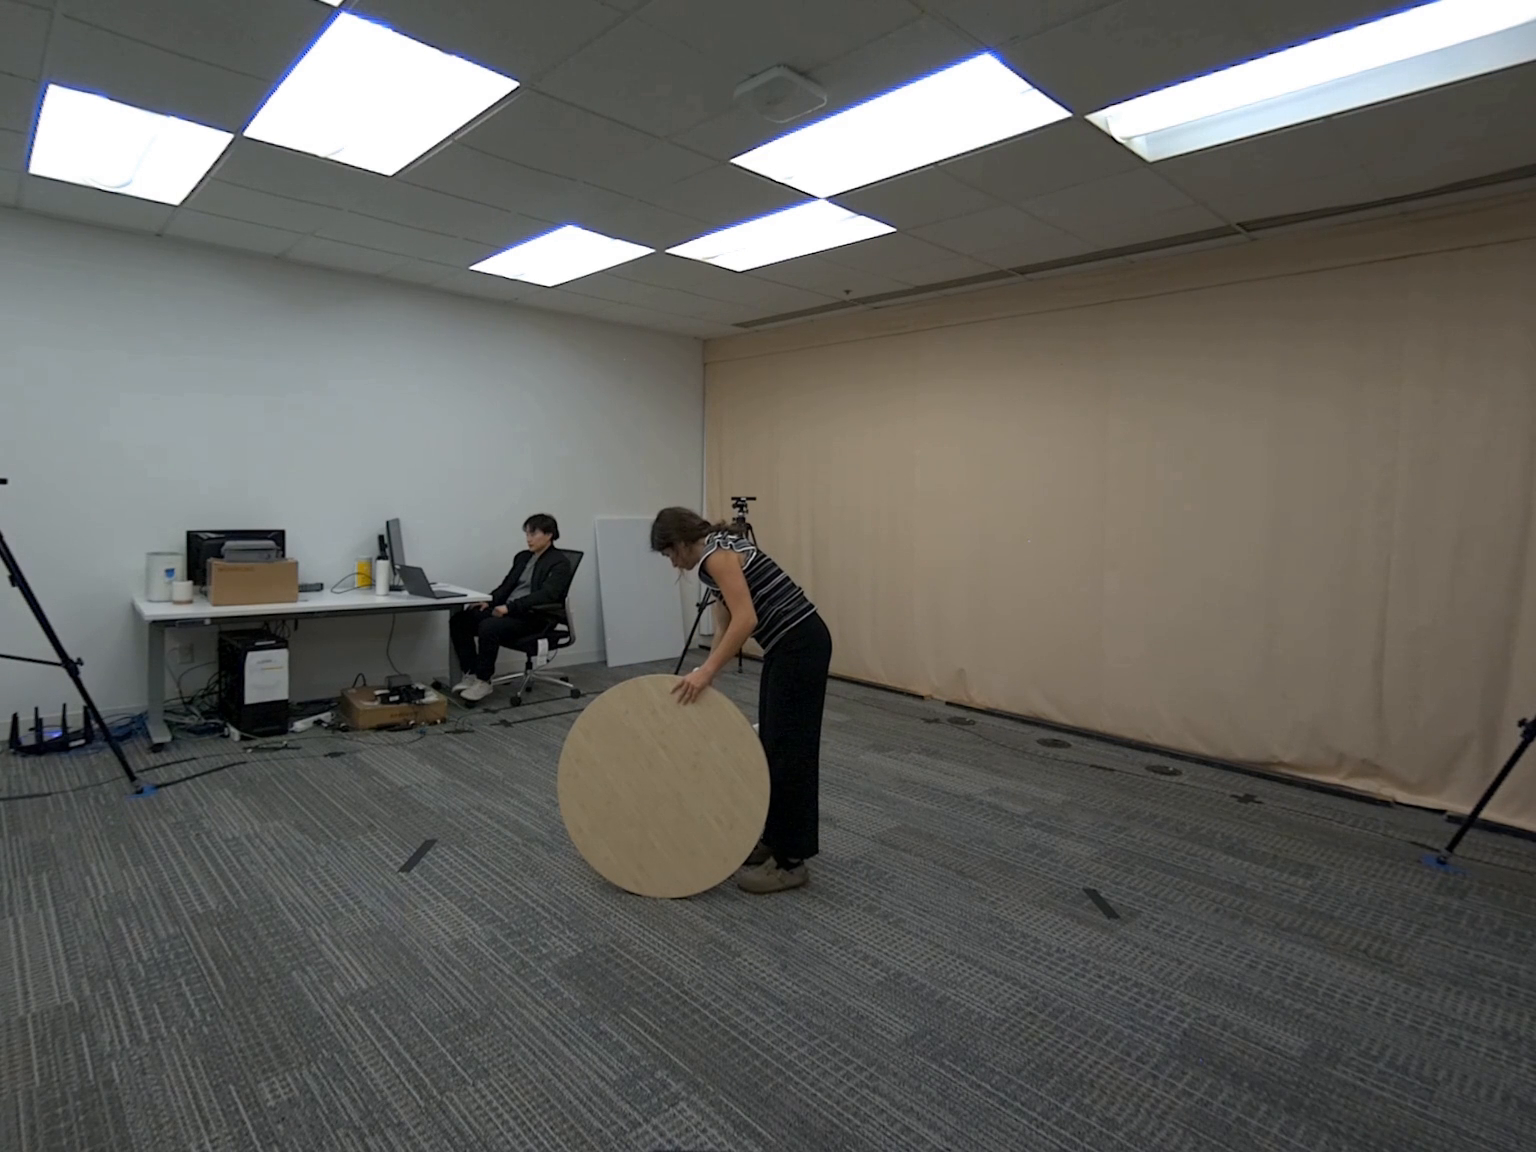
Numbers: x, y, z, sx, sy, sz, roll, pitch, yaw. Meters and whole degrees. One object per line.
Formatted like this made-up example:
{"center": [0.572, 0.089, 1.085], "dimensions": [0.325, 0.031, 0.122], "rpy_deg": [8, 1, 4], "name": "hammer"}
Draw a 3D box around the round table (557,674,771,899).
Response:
{"center": [-0.338, 0.753, 3.341], "dimensions": [0.769, 0.765, 0.787], "rpy_deg": [2, -2, 8], "name": "round table"}
